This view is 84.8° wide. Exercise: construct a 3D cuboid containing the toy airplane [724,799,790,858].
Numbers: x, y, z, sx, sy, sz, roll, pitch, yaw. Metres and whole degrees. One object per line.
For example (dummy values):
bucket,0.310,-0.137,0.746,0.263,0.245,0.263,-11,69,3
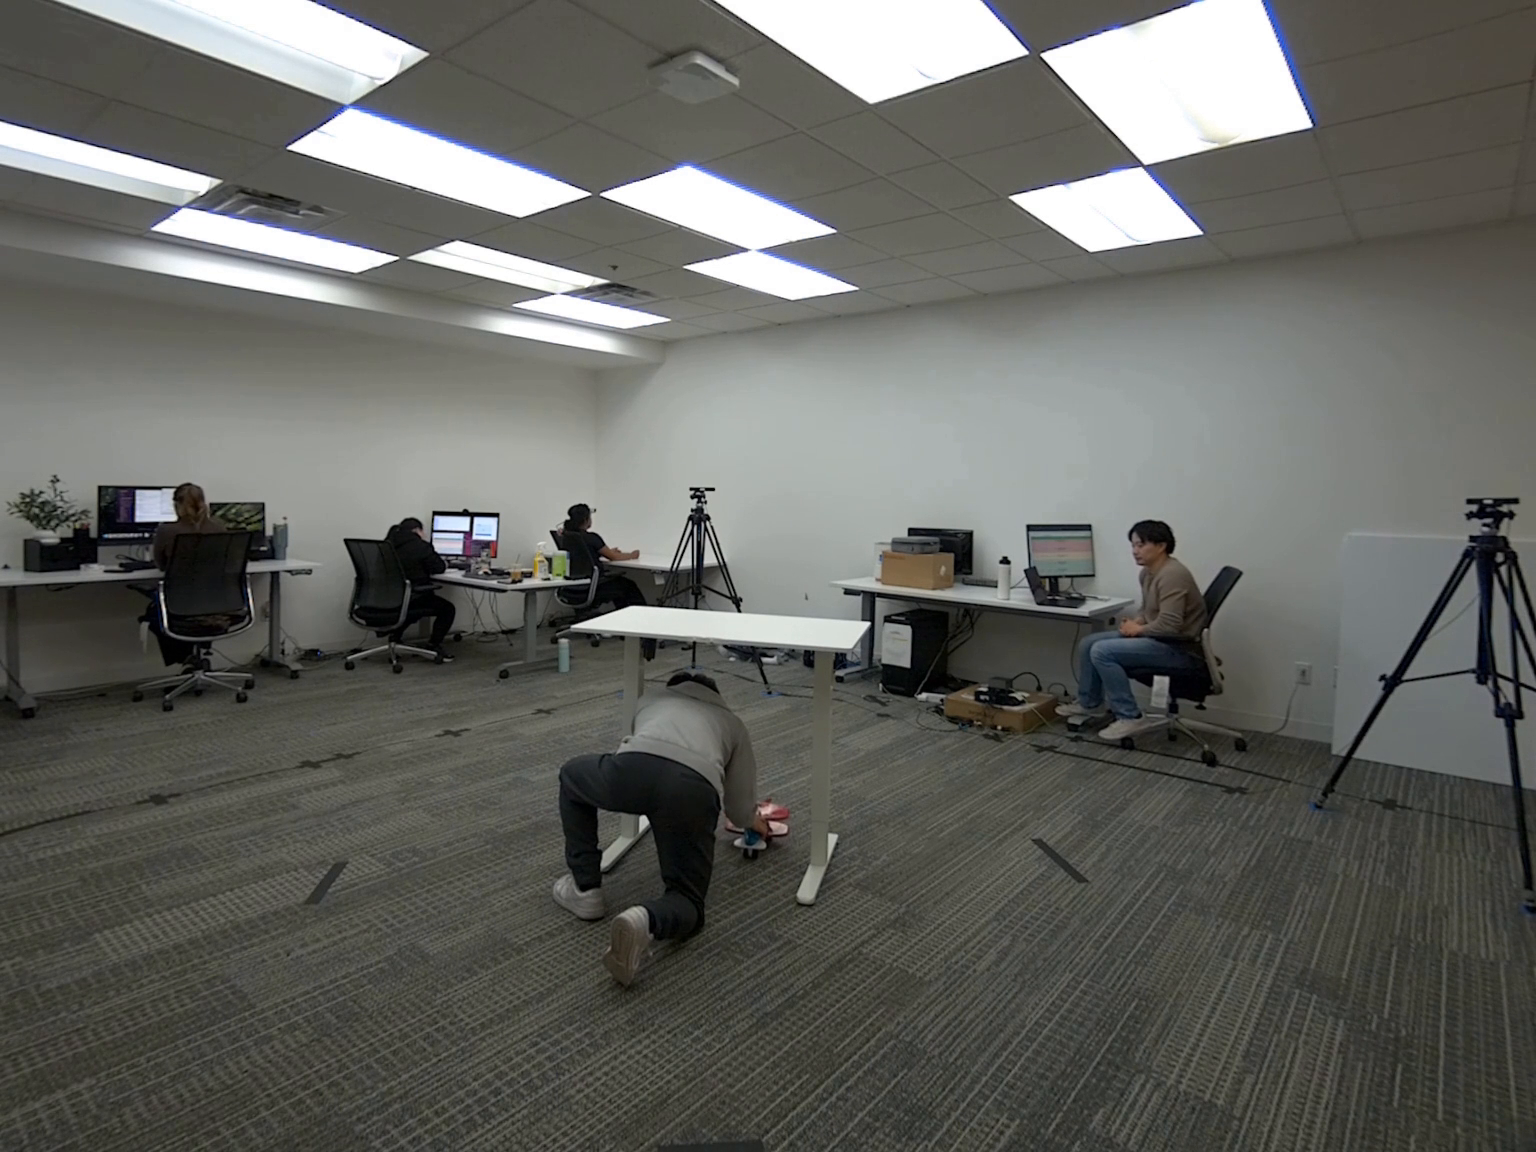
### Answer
toy airplane,-0.040,0.978,3.297,0.247,0.156,0.264,-2,4,-18
